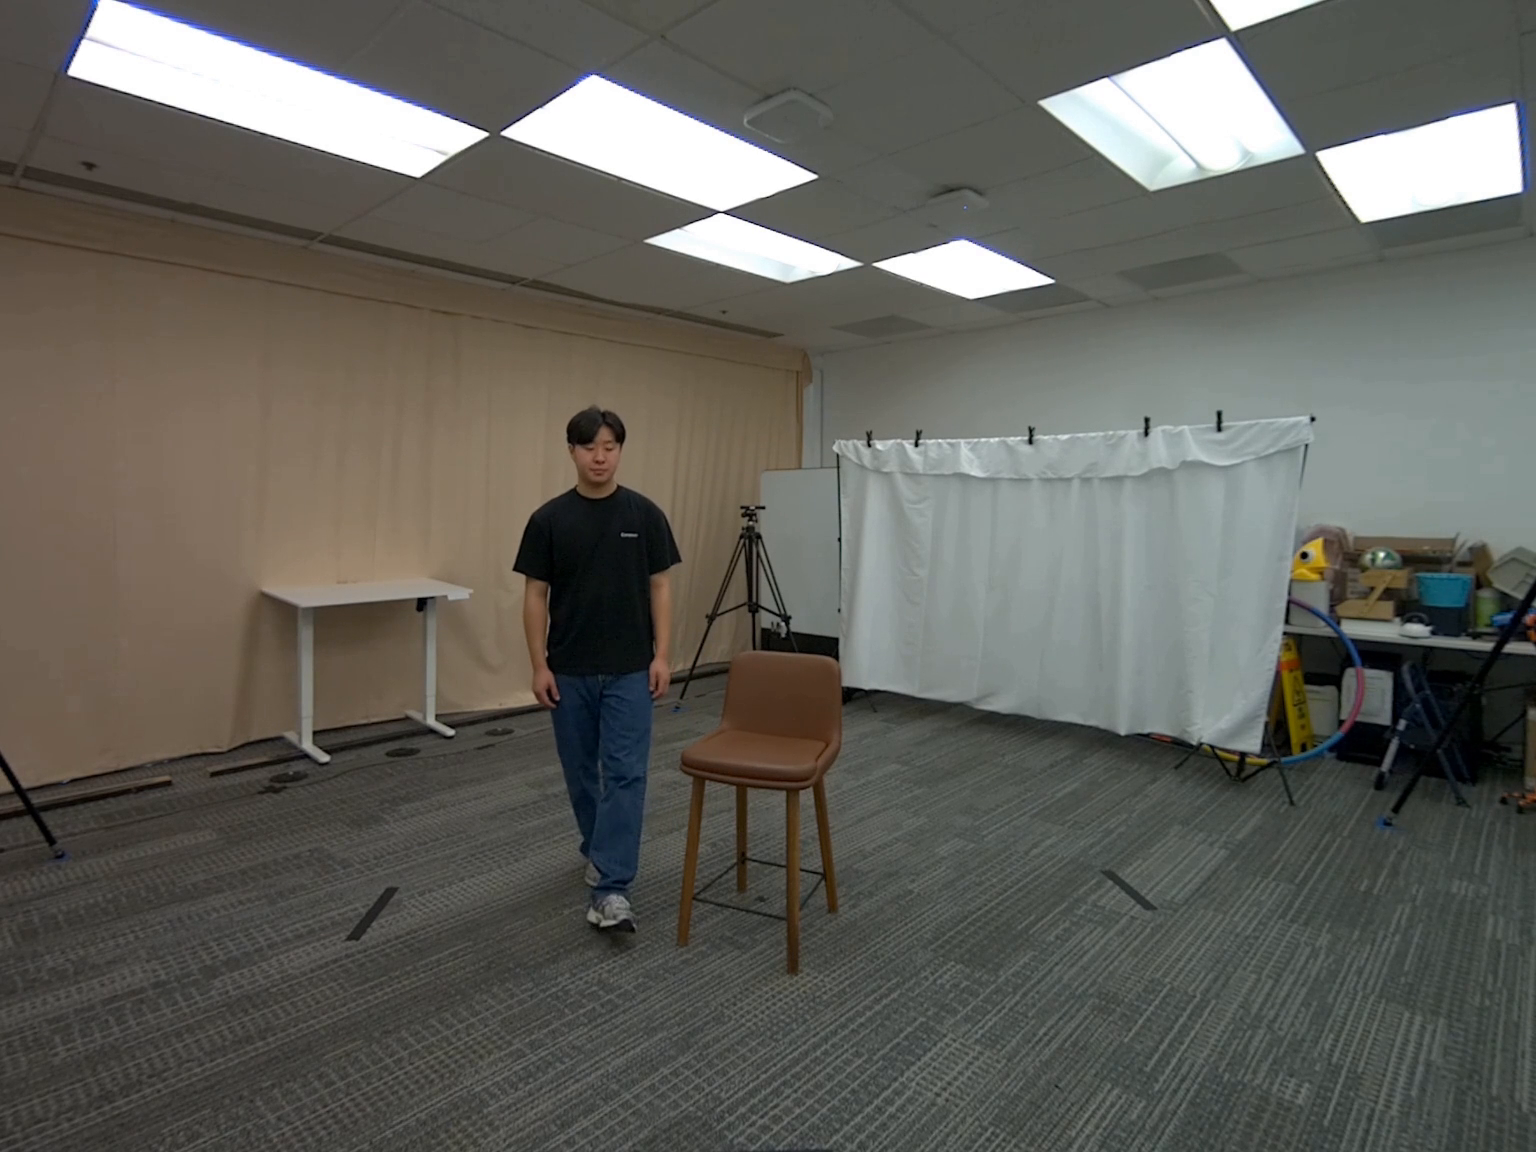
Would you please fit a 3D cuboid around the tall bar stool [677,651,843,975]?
[{"bbox_3d":[-0.007,0.729,2.760,0.469,0.889,0.456,2,2,26],"label":"tall bar stool"}]
